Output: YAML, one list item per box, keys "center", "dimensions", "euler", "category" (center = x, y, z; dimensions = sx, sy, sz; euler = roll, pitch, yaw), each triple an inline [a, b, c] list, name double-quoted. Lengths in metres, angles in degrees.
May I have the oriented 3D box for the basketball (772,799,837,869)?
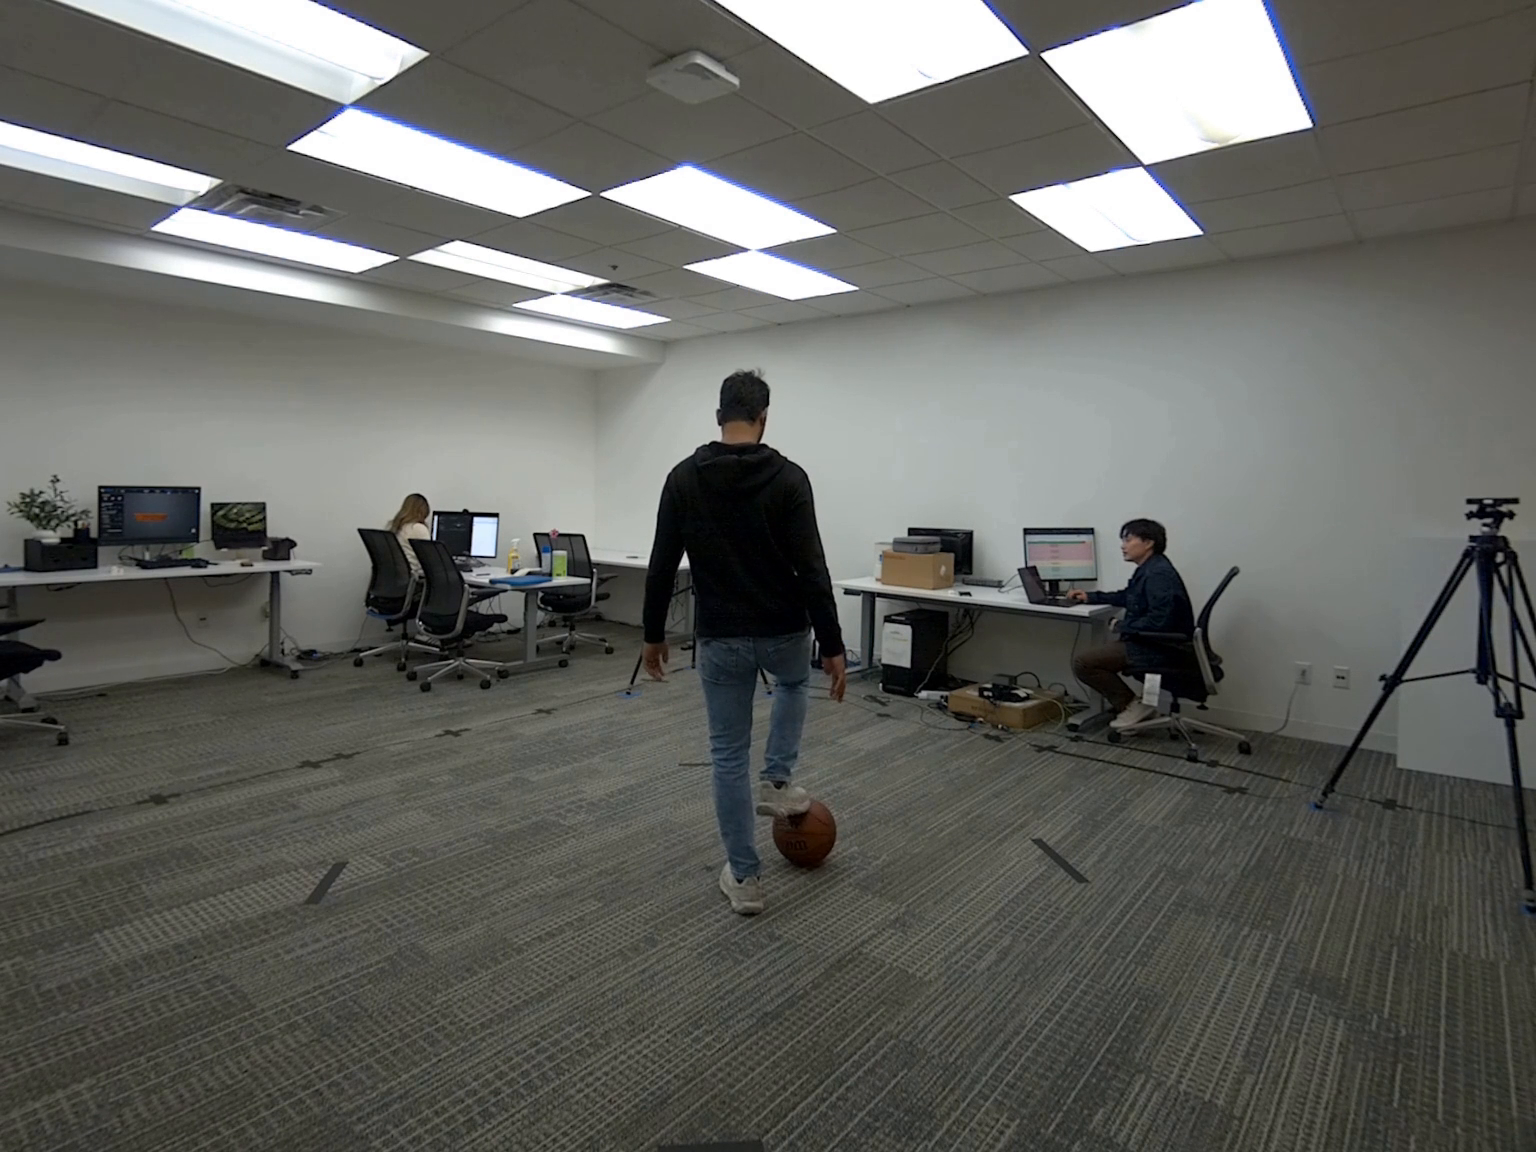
- center: [0.128, 0.946, 3.193]
  dimensions: [0.235, 0.235, 0.237]
  euler: [1, 4, -2]
  category: "basketball"
